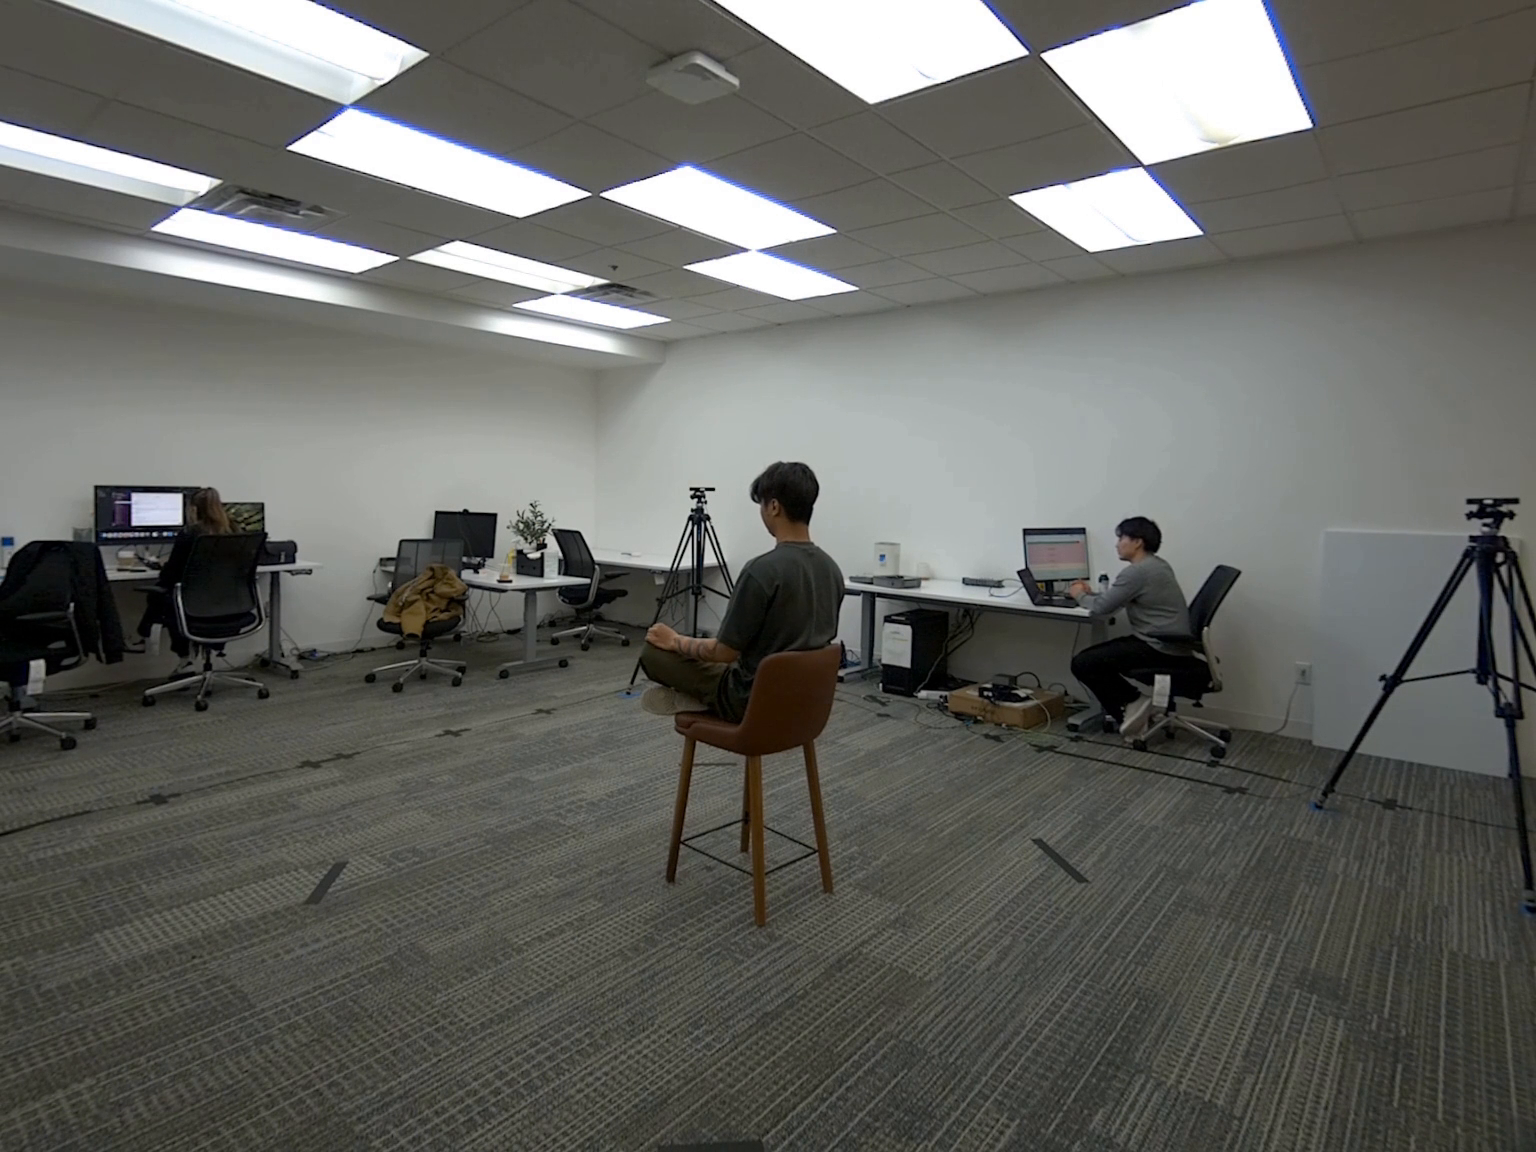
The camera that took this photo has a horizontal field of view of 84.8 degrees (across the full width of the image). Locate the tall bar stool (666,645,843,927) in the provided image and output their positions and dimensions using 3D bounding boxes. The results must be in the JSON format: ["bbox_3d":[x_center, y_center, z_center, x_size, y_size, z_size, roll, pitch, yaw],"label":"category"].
[{"bbox_3d":[-0.052,0.649,2.953,0.484,0.886,0.442,8,6,43],"label":"tall bar stool"}]
